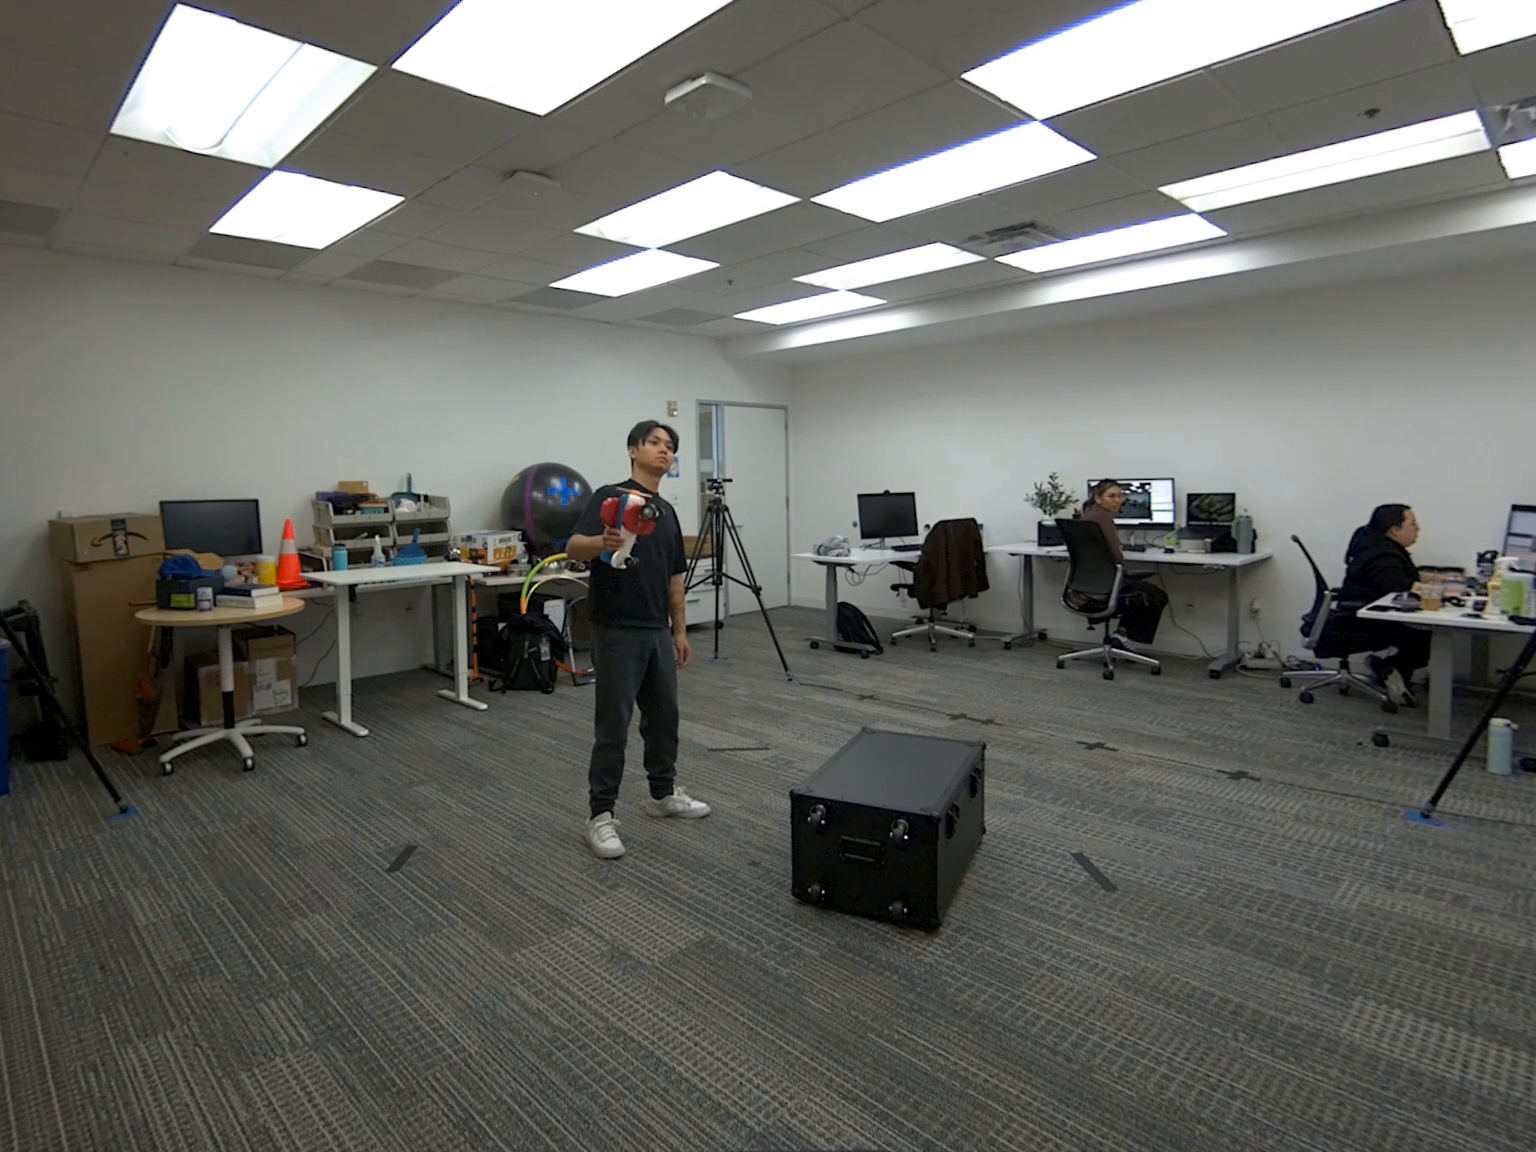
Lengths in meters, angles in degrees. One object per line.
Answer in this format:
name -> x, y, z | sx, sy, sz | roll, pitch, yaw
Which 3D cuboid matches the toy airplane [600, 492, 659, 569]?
toy airplane -> -0.459, -0.154, 2.825 | 0.159, 0.260, 0.245 | 28, -25, 14
